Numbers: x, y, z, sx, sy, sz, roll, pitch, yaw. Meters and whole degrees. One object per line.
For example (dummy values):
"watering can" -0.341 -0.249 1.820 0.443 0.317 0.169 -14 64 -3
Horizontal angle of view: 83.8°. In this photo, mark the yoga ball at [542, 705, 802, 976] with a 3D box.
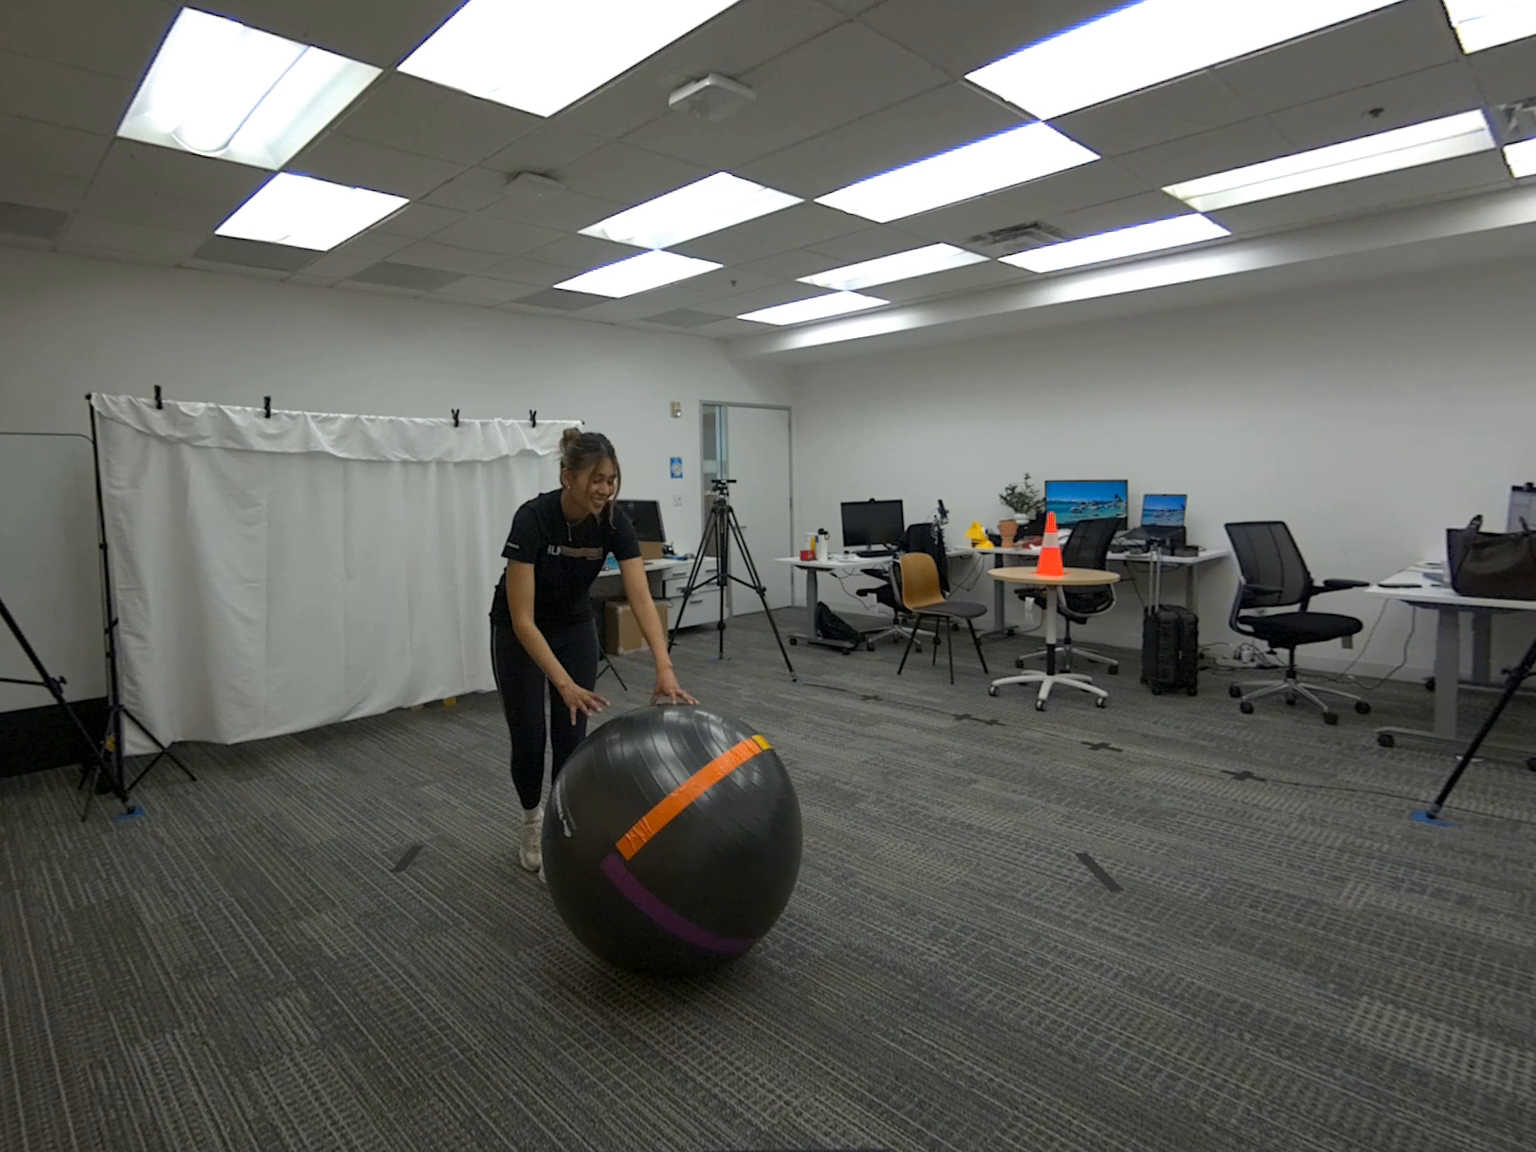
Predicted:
"yoga ball" -0.276 0.760 2.487 0.757 0.755 0.762 -1 5 -2
